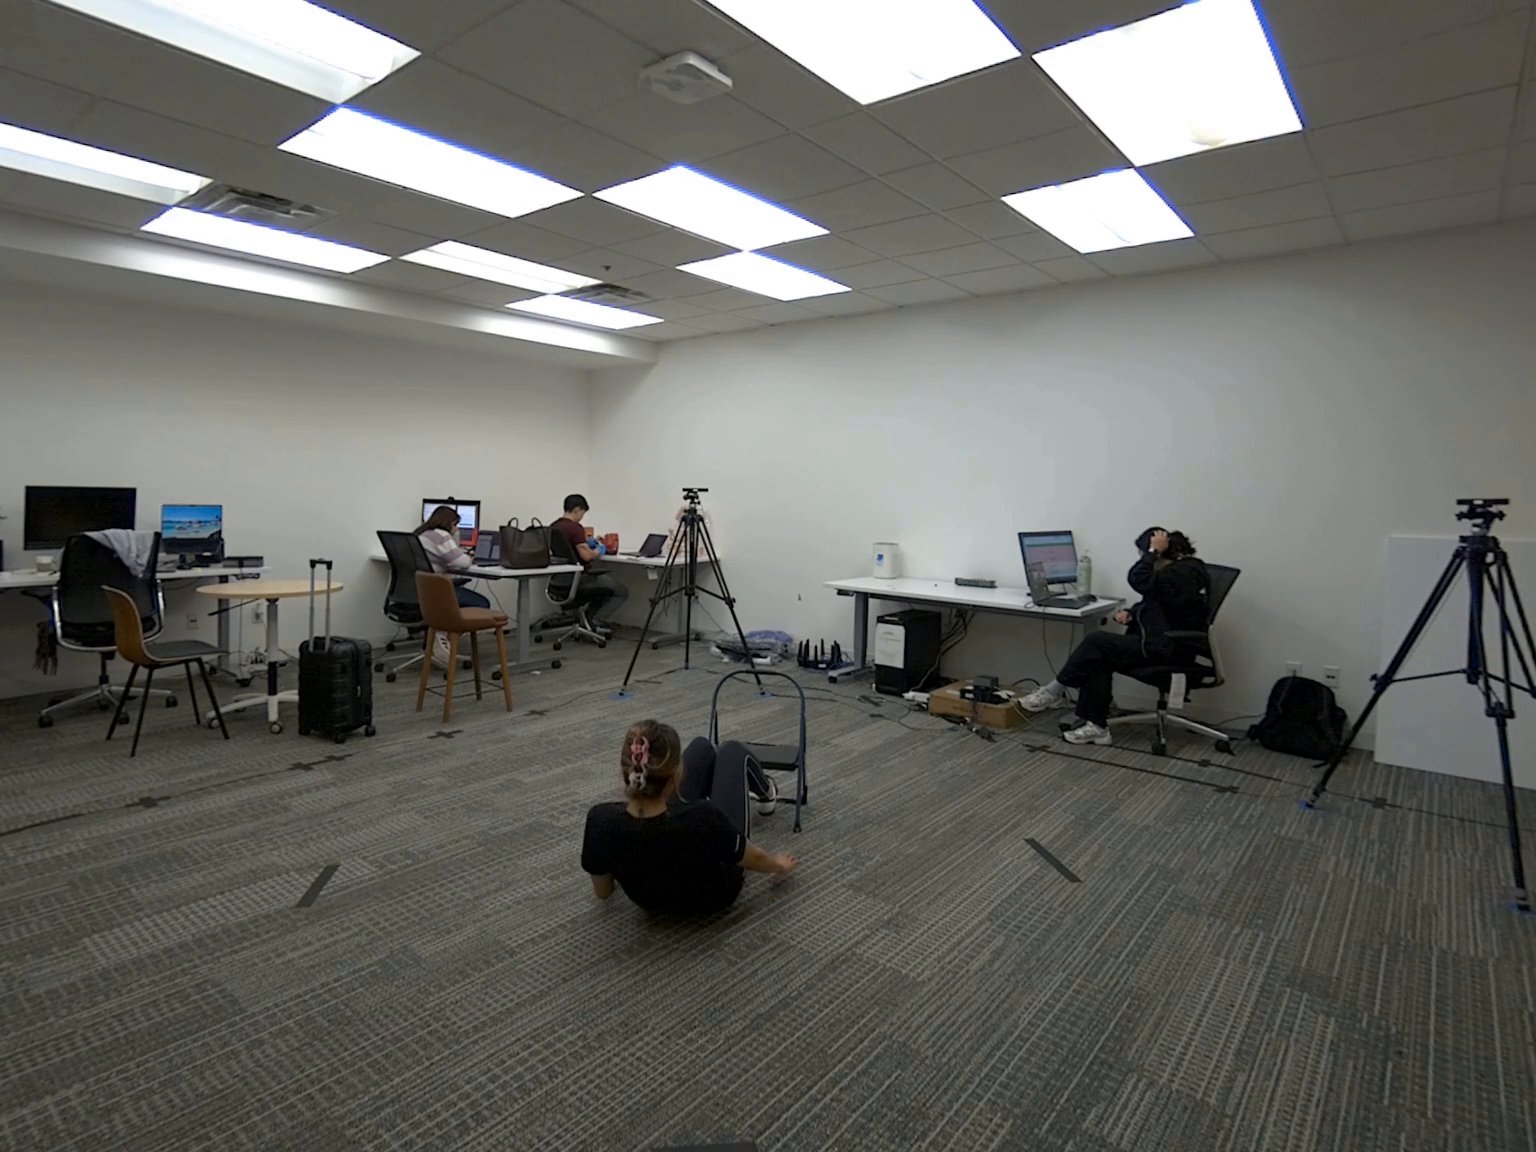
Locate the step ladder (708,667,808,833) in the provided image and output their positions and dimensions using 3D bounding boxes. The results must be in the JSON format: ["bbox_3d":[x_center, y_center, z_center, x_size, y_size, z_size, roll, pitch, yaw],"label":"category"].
[{"bbox_3d":[-0.052,0.715,3.660,0.436,0.604,0.346,2,3,10],"label":"step ladder"}]
